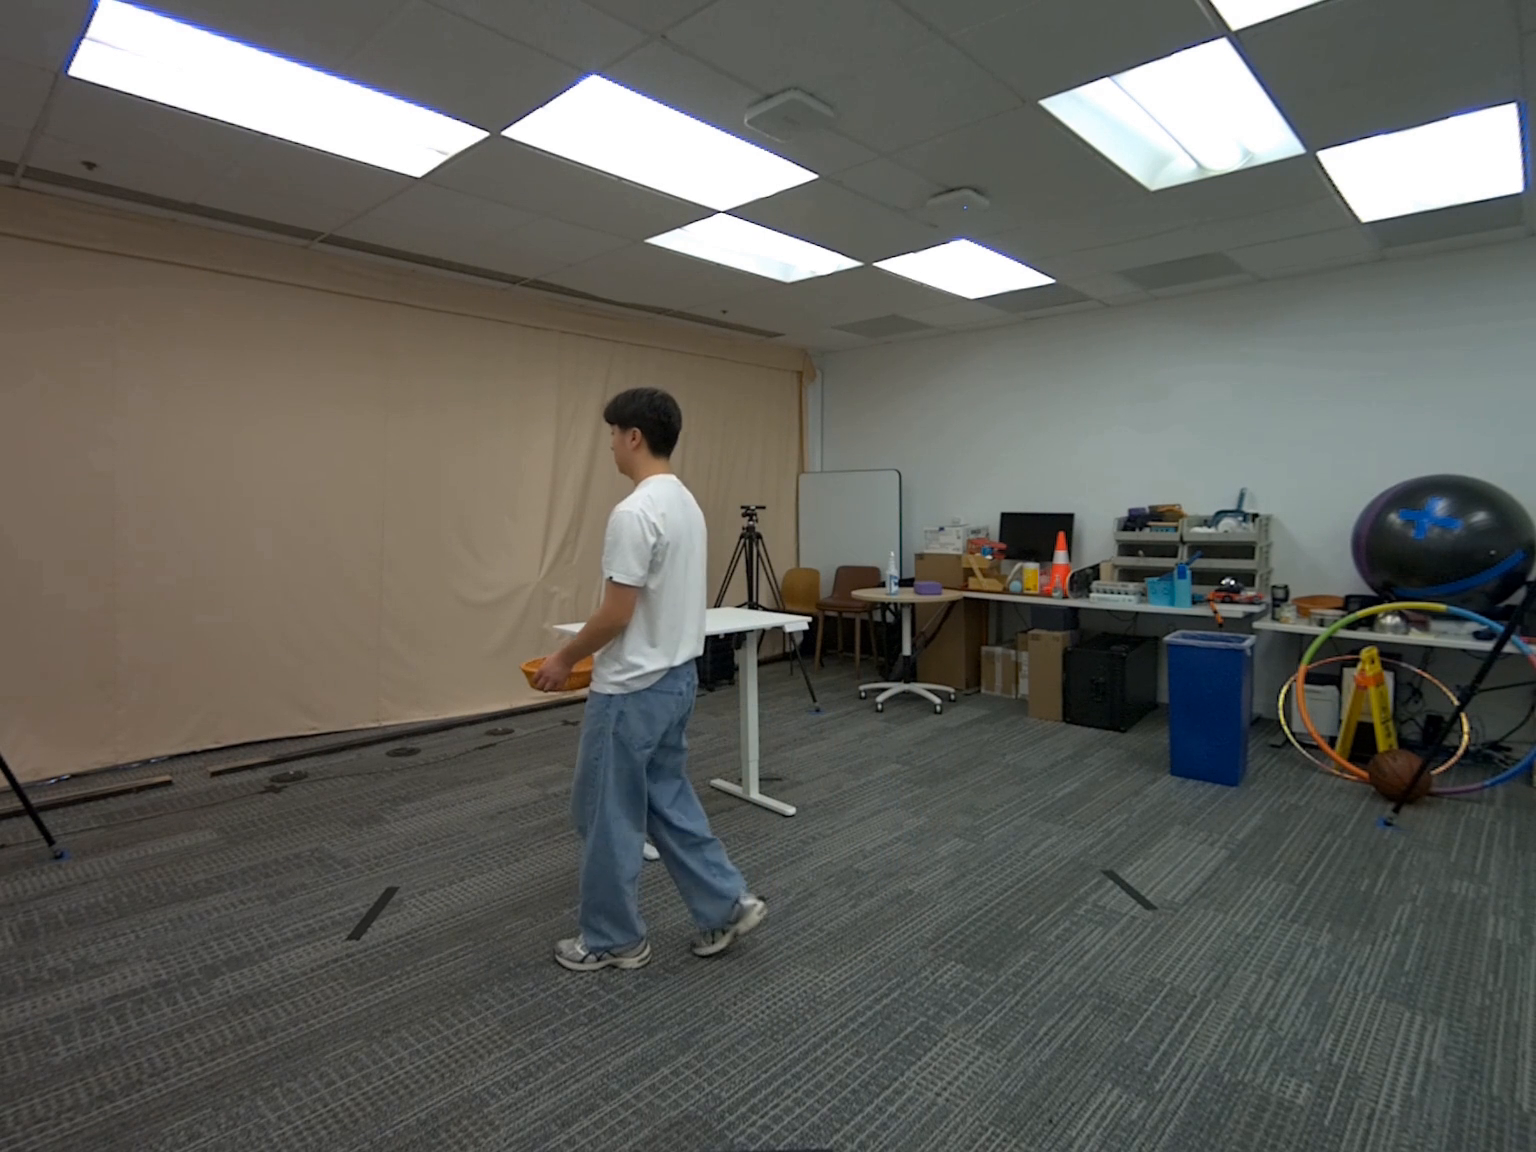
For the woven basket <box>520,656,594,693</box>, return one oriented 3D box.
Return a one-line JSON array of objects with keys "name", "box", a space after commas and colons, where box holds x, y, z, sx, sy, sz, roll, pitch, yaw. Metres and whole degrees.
[{"name": "woven basket", "box": [-0.608, 0.310, 2.670, 0.260, 0.073, 0.340, 1, 4, 41]}]
